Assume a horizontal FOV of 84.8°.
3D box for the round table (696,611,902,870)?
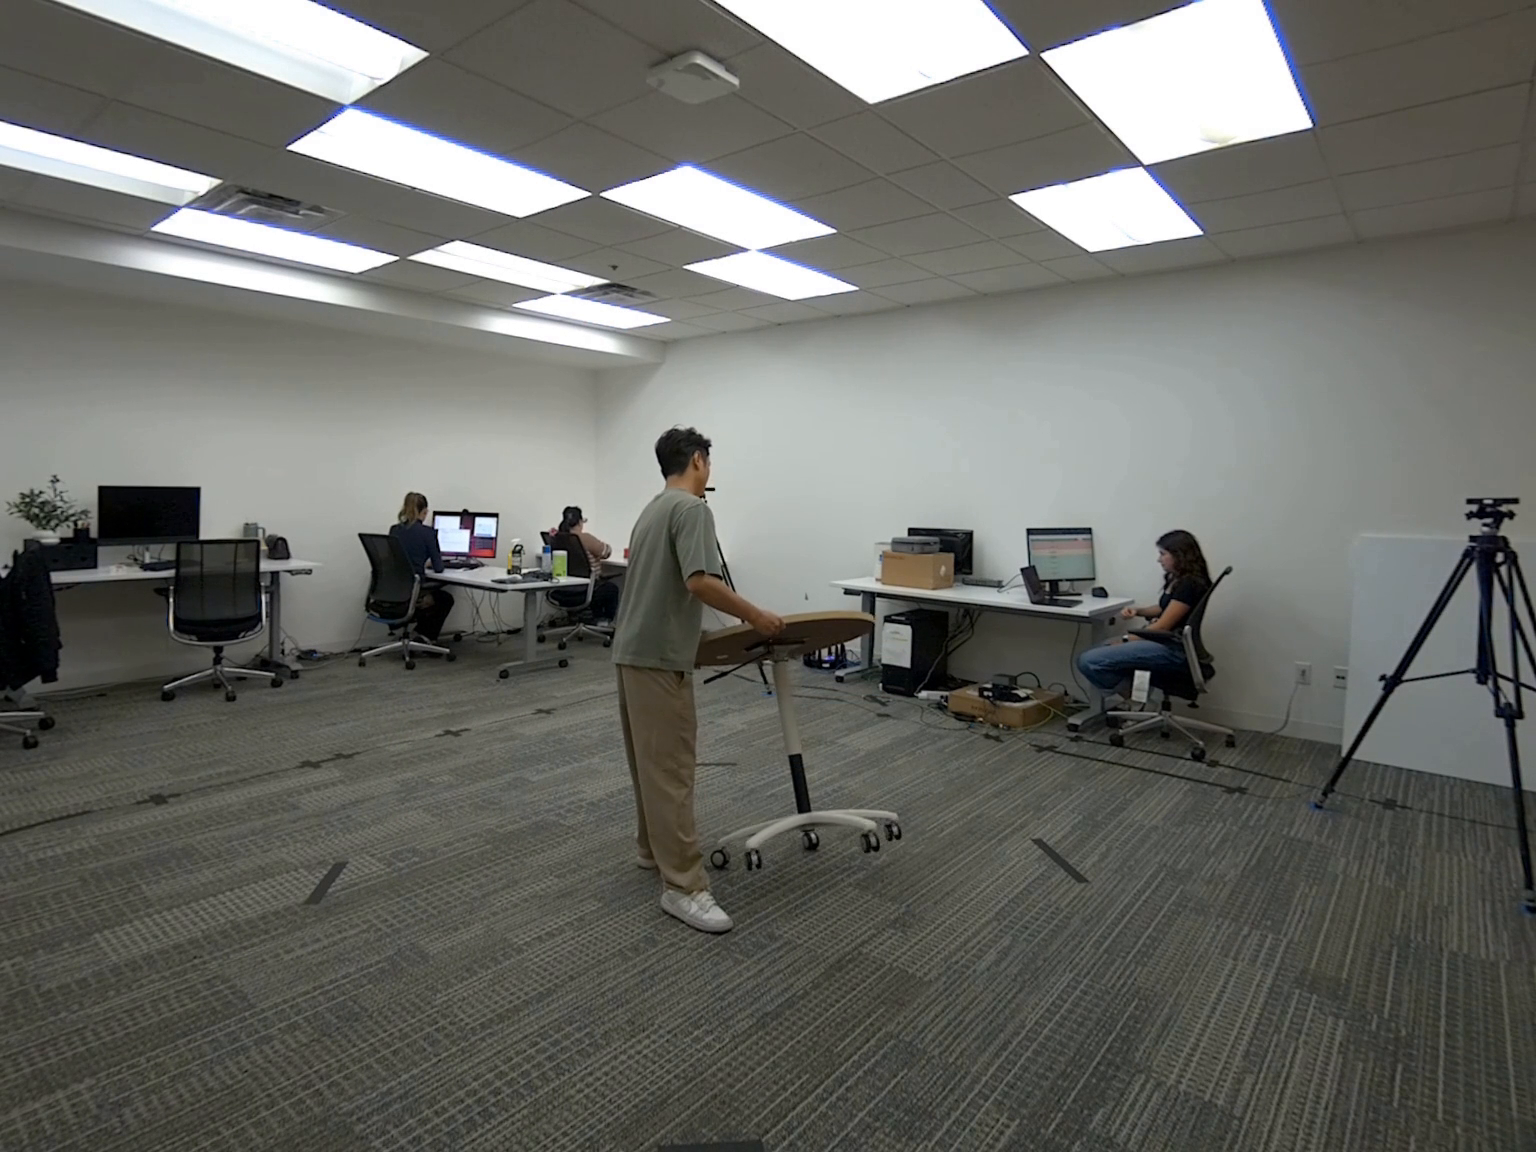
[{"bbox_3d":[0.092,0.612,3.120,0.782,0.801,0.774,-9,-15,-4],"label":"round table"}]
